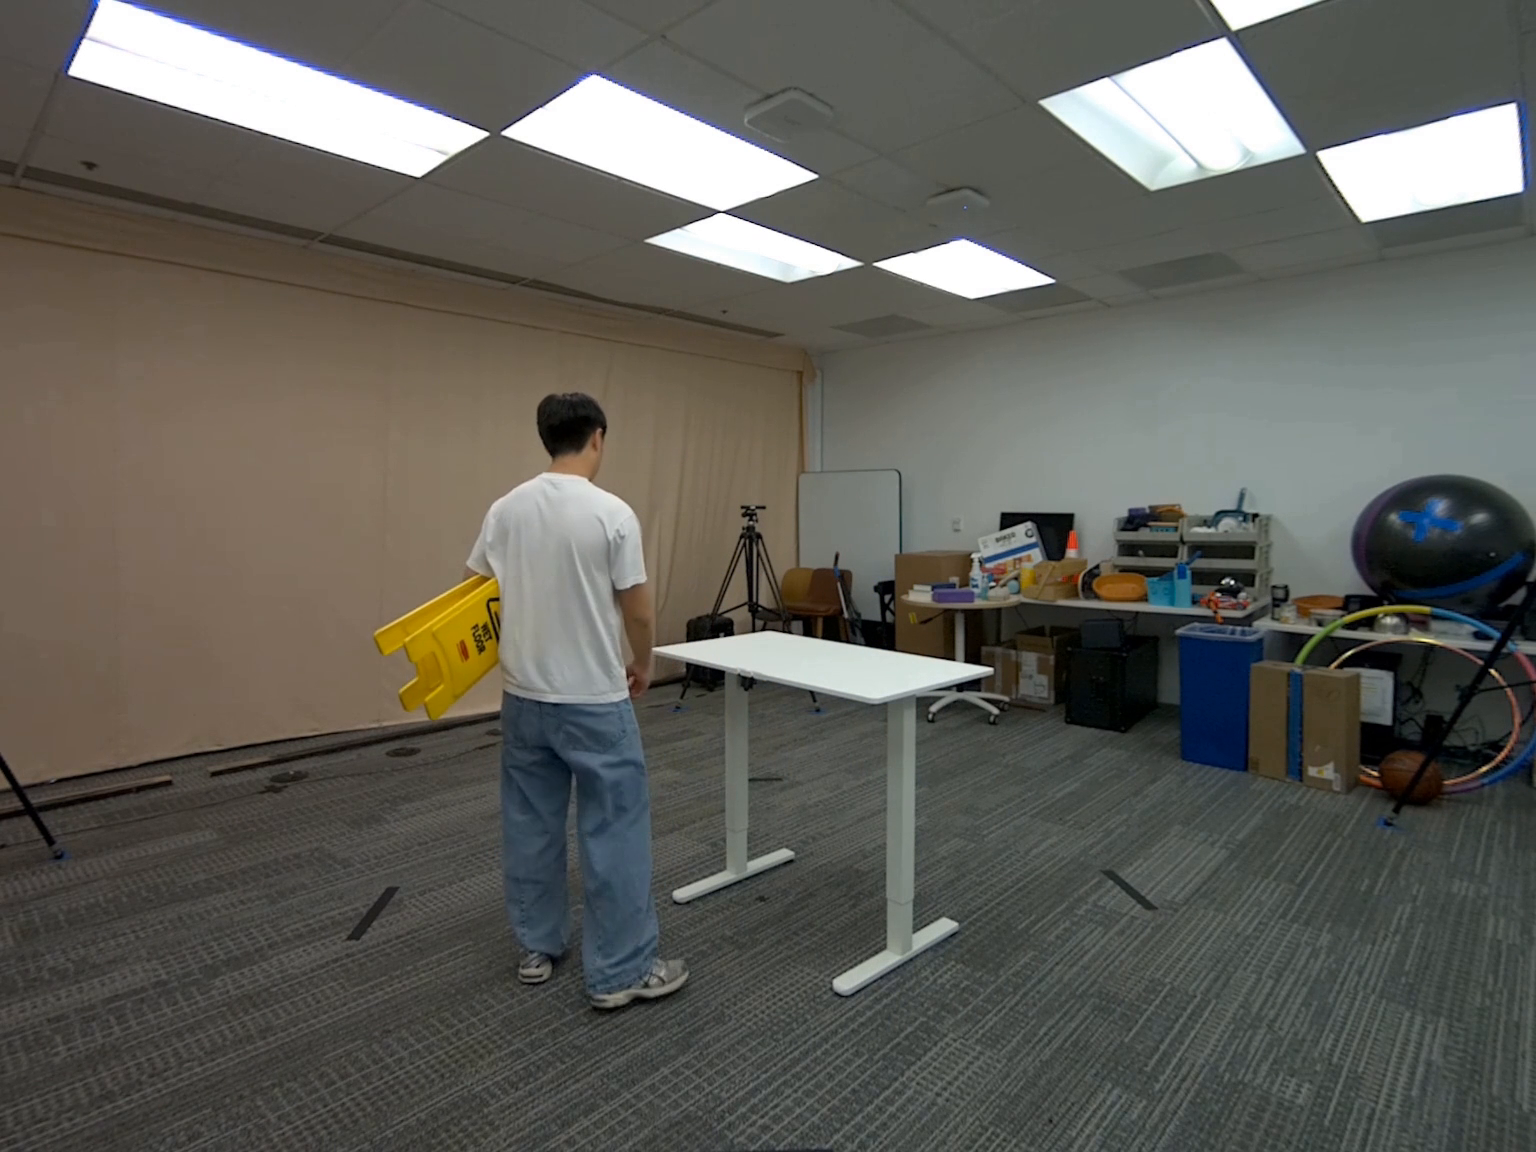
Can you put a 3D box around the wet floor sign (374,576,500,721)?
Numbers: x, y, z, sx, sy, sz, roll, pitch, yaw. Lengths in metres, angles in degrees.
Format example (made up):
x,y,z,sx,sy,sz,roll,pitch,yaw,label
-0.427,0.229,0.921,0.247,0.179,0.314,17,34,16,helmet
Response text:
x,y,z,sx,sy,sz,roll,pitch,yaw,label
-0.809,0.121,2.516,0.298,0.276,0.640,4,33,31,wet floor sign
